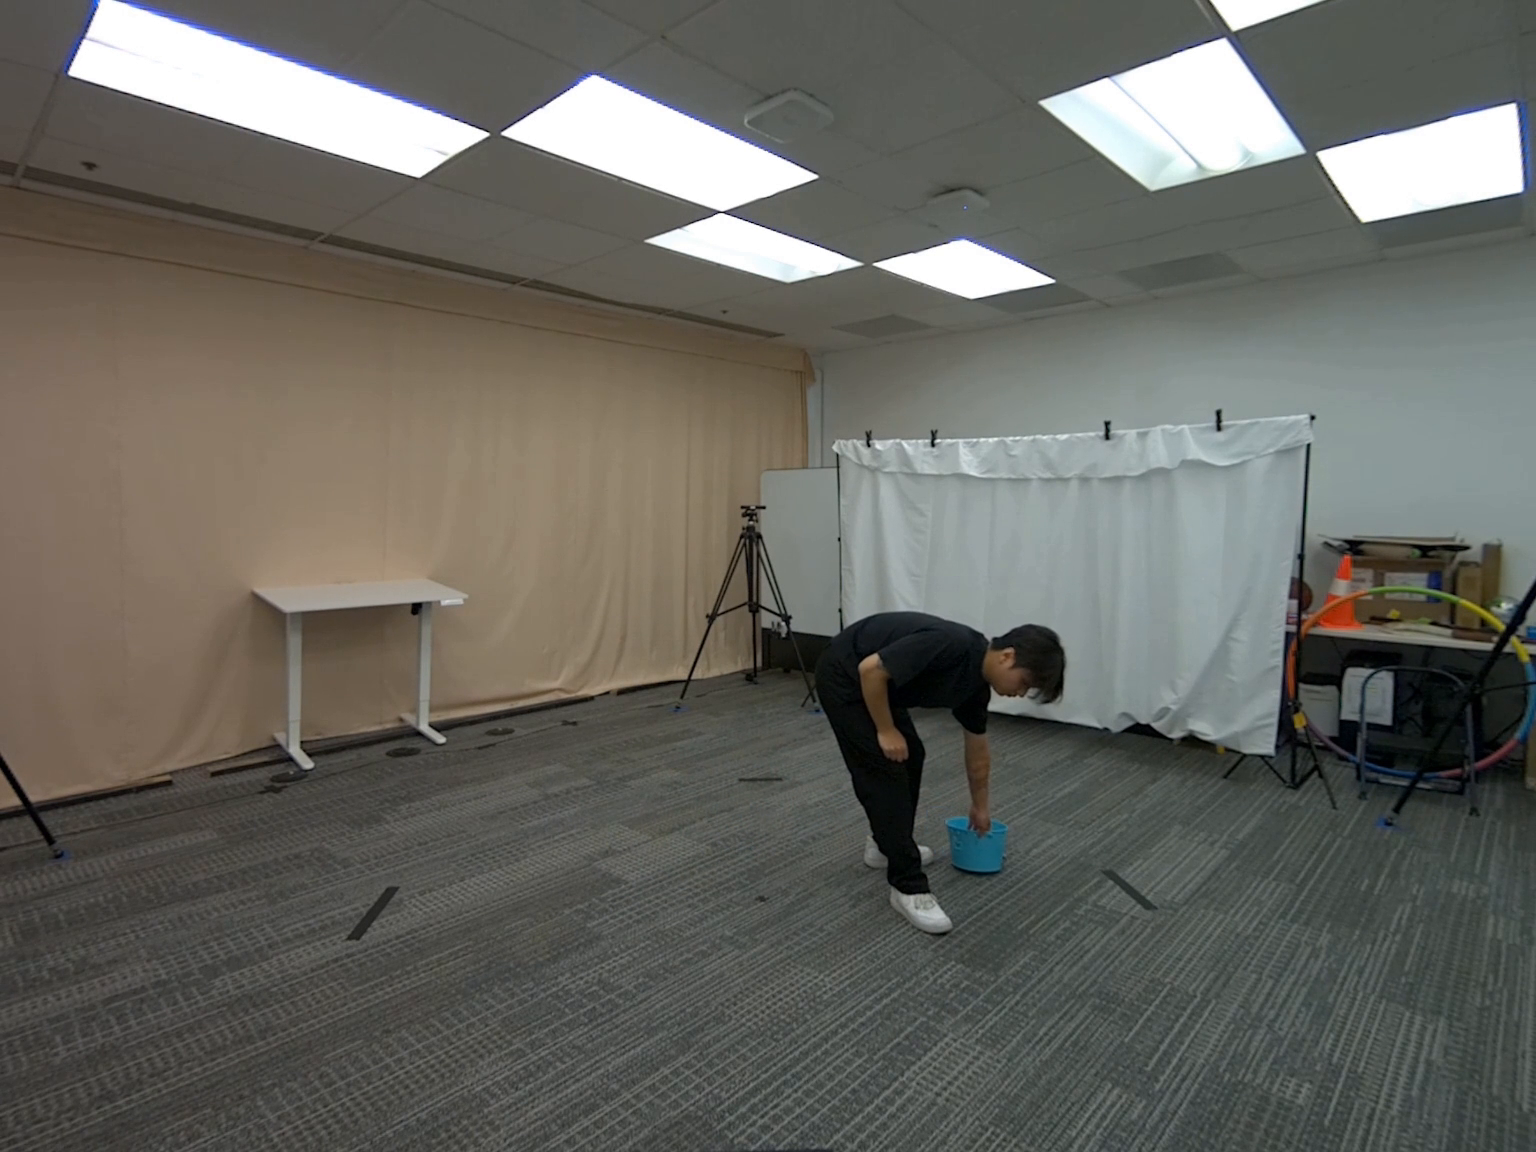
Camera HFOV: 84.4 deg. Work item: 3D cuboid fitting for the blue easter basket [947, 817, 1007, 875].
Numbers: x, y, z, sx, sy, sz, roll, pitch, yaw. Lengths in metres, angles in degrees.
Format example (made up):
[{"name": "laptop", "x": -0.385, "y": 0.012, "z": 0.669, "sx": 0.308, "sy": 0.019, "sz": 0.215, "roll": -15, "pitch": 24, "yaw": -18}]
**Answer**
[{"name": "blue easter basket", "x": 0.808, "y": 1.037, "z": 3.238, "sx": 0.243, "sy": 0.156, "sz": 0.243, "roll": 2, "pitch": -2, "yaw": -2}]
